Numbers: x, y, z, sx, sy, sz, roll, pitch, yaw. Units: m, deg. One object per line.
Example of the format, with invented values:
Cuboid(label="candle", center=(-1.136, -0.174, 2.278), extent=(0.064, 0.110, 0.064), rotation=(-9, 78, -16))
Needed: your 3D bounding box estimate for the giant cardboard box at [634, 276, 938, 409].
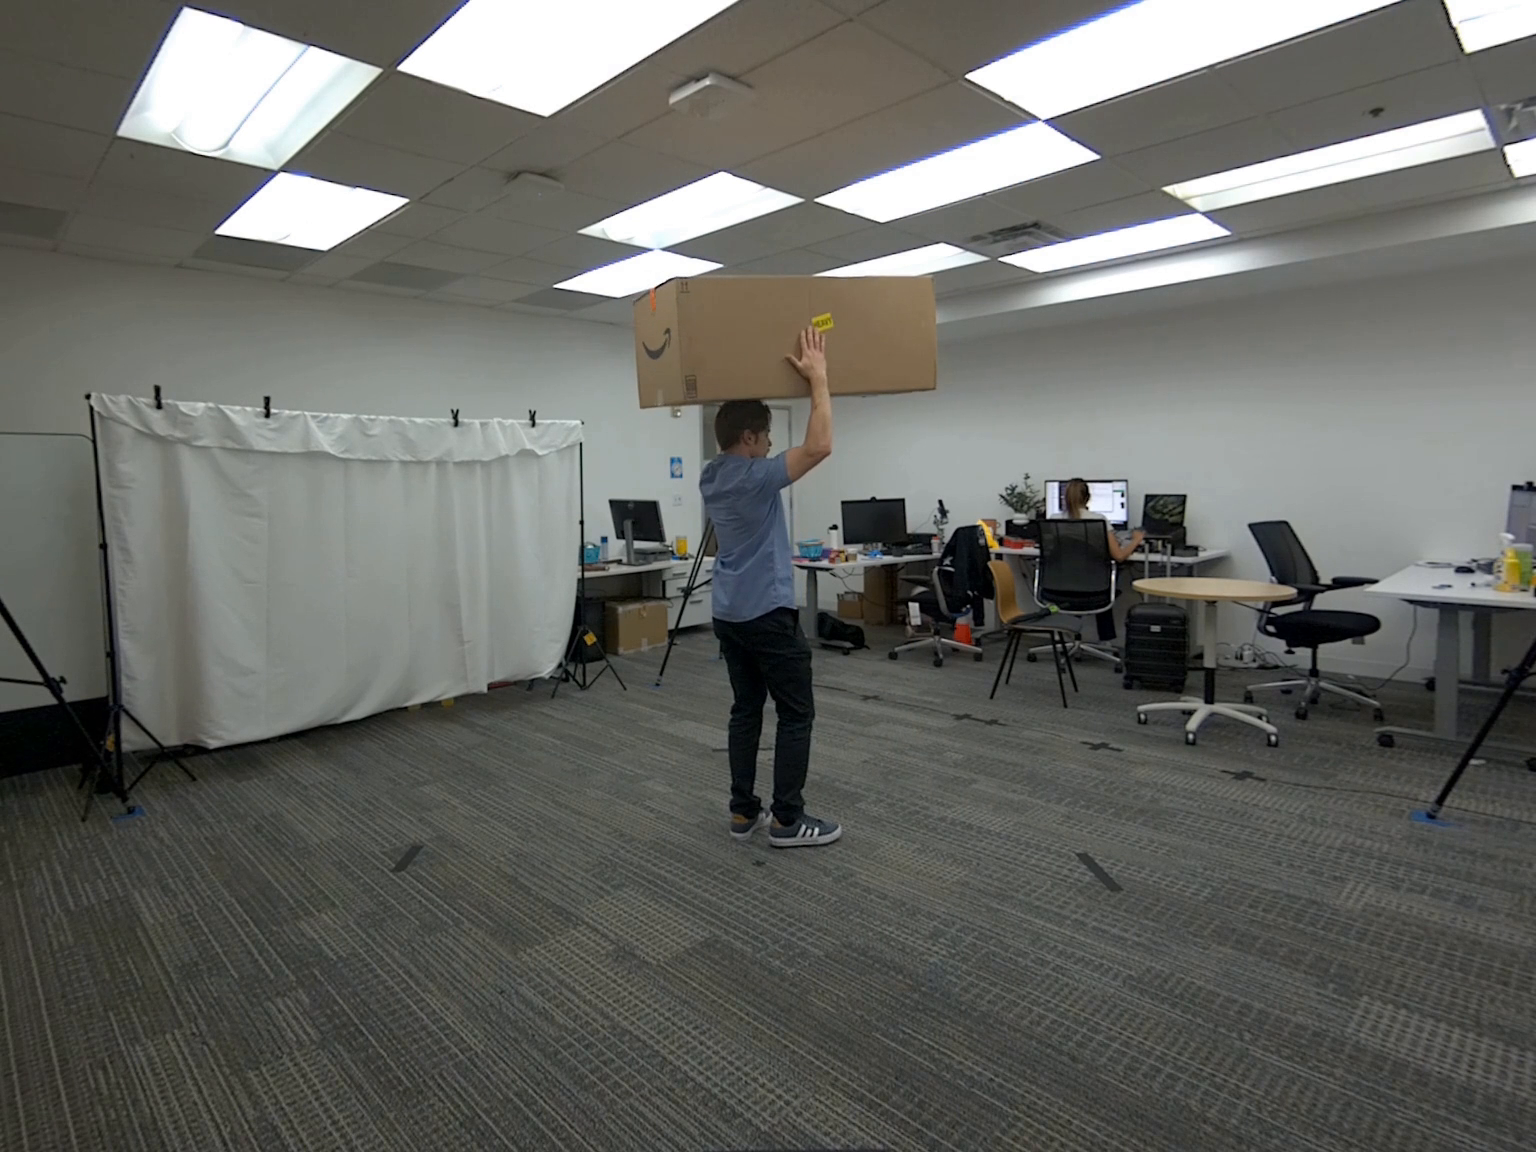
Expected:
Cuboid(label="giant cardboard box", center=(0.051, -0.899, 3.317), extent=(1.008, 0.422, 0.592), rotation=(-7, 10, -21))
